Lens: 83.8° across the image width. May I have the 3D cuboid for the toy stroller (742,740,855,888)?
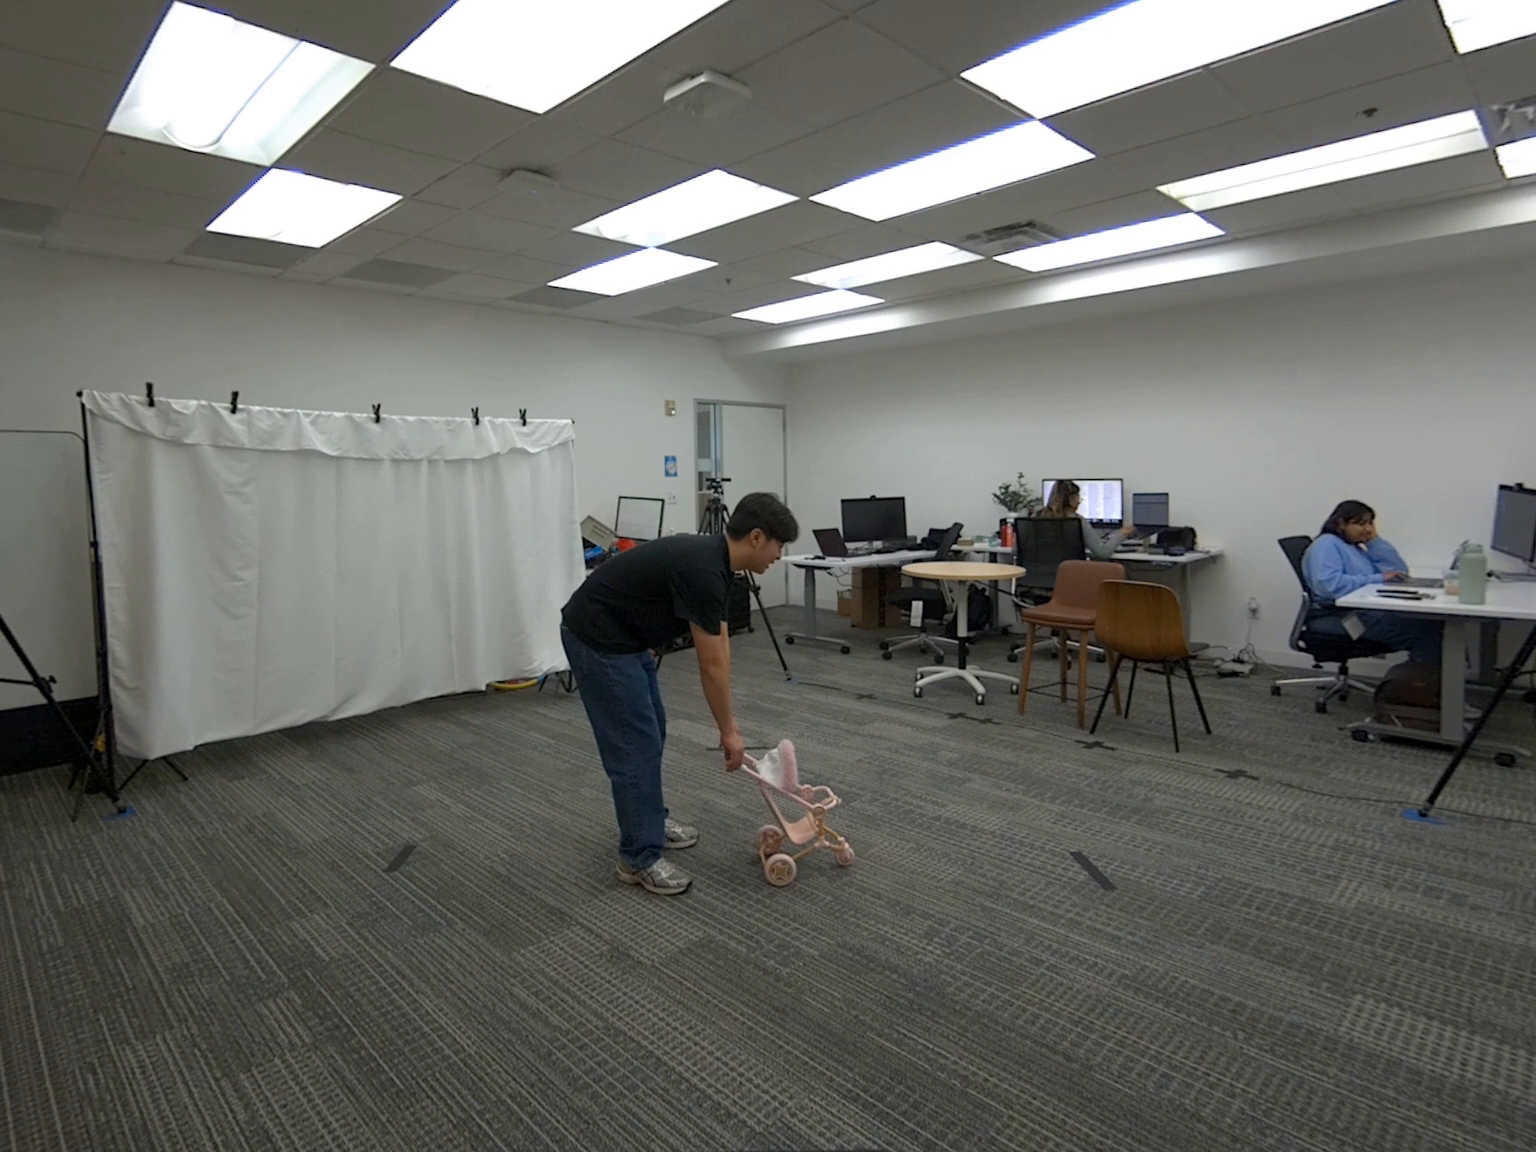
[{"bbox_3d":[0.080,0.816,3.045,0.341,0.532,0.283,-17,4,-2],"label":"toy stroller"}]
